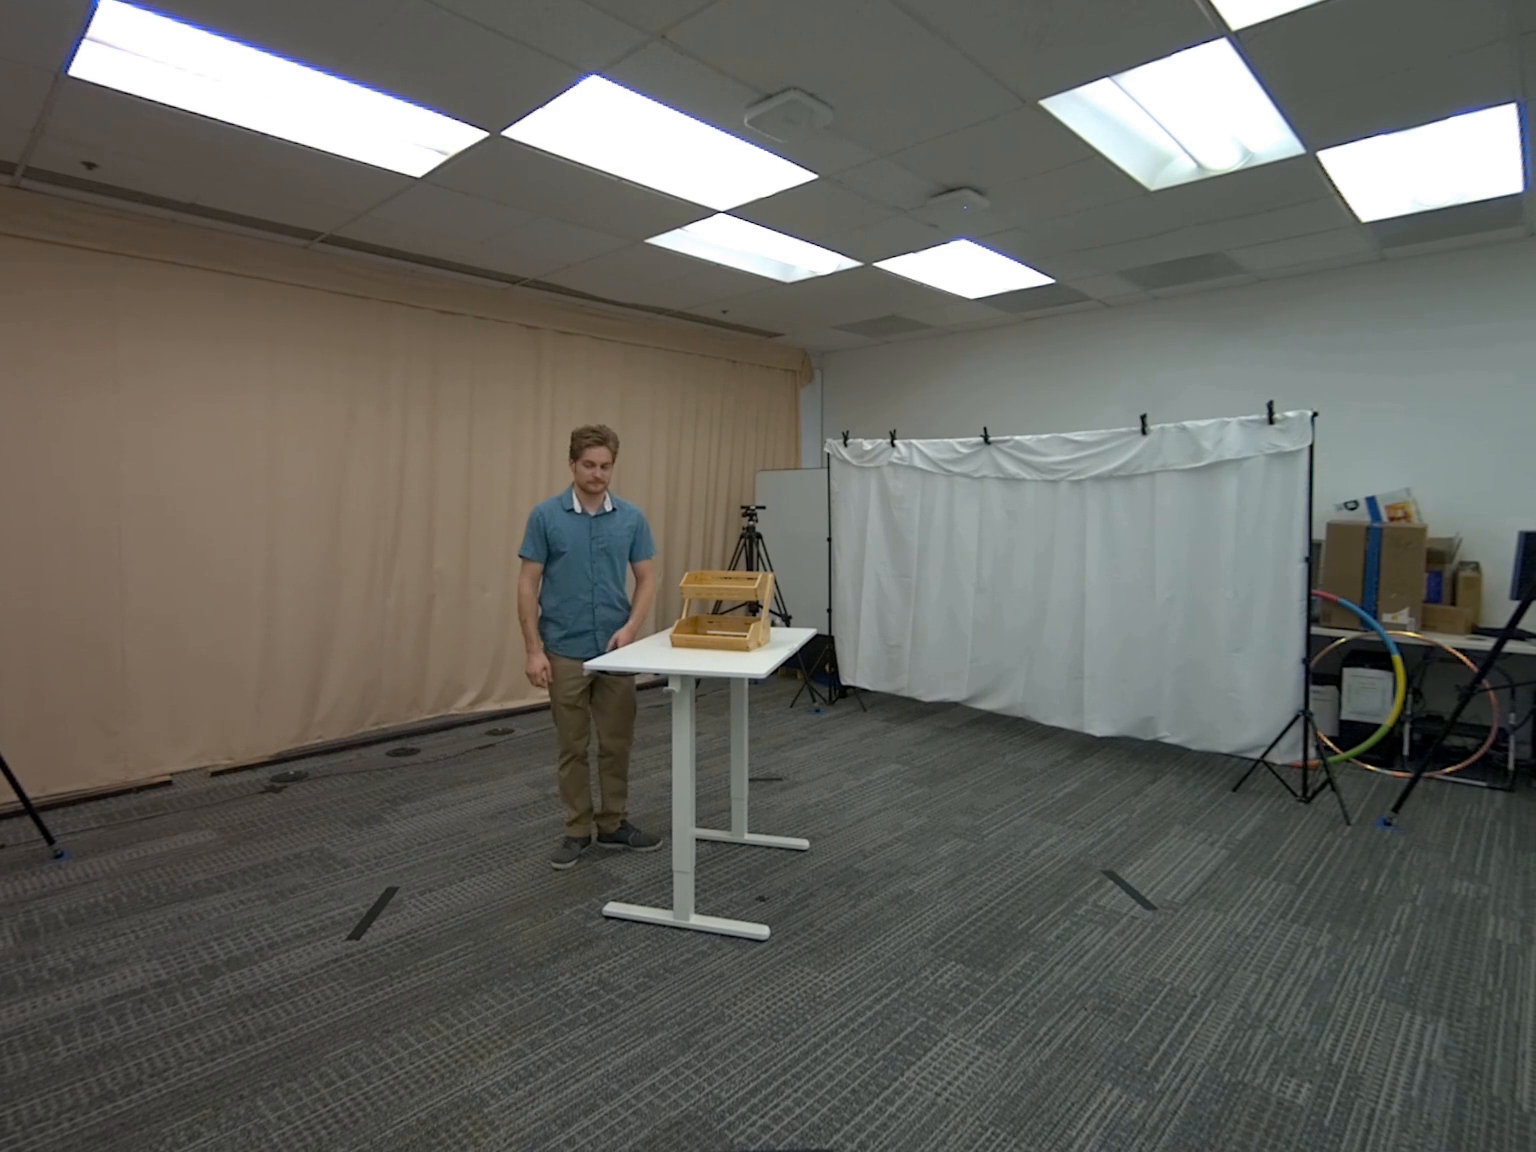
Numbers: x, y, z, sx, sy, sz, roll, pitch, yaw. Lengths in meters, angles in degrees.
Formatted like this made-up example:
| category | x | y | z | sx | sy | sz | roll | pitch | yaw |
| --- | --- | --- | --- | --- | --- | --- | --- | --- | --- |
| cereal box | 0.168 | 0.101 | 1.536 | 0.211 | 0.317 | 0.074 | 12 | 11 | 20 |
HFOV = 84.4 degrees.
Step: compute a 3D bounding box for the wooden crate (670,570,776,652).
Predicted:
| category | x | y | z | sx | sy | sz | roll | pitch | yaw |
| --- | --- | --- | --- | --- | --- | --- | --- | --- | --- |
| wooden crate | -0.167 | 0.119 | 3.105 | 0.331 | 0.273 | 0.296 | 1 | 3 | 19 |
